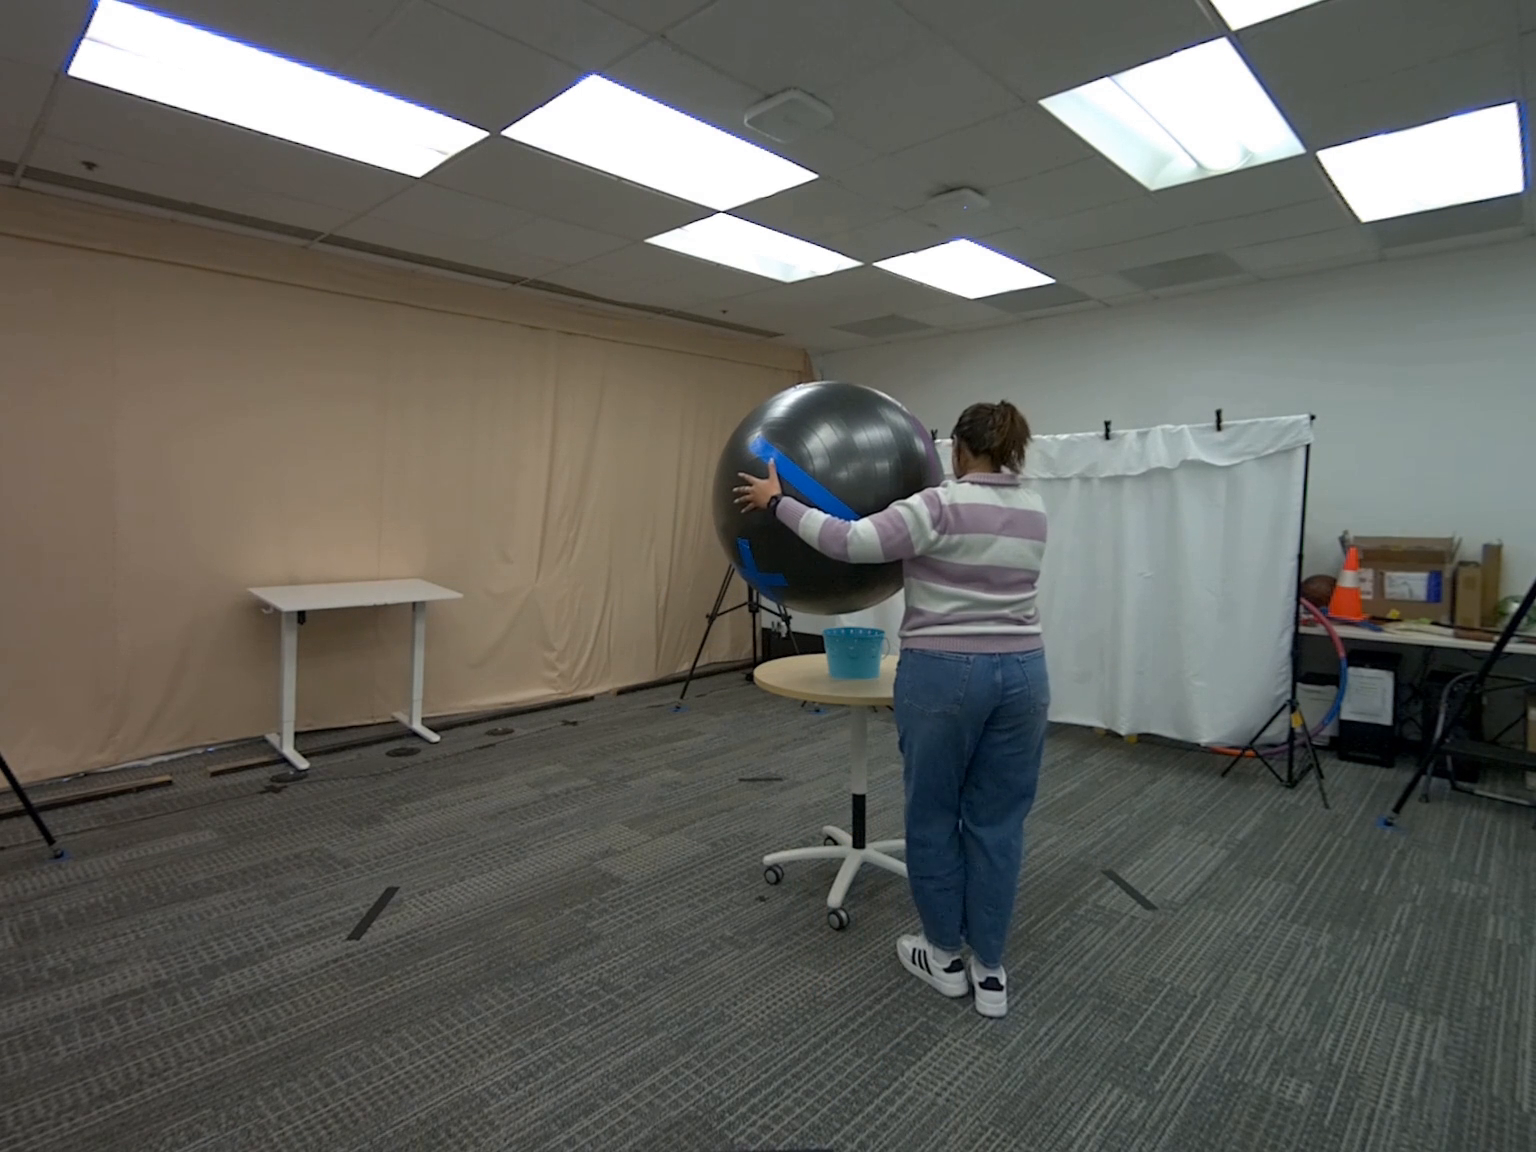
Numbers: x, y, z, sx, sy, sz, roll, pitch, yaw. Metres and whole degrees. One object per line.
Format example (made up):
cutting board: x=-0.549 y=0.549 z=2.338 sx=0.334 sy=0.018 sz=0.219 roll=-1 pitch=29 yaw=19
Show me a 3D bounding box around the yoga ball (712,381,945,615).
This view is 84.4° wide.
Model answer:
yoga ball: x=0.193 y=-0.247 z=2.766 sx=0.757 sy=0.756 sz=0.760 roll=0 pitch=4 yaw=-2
